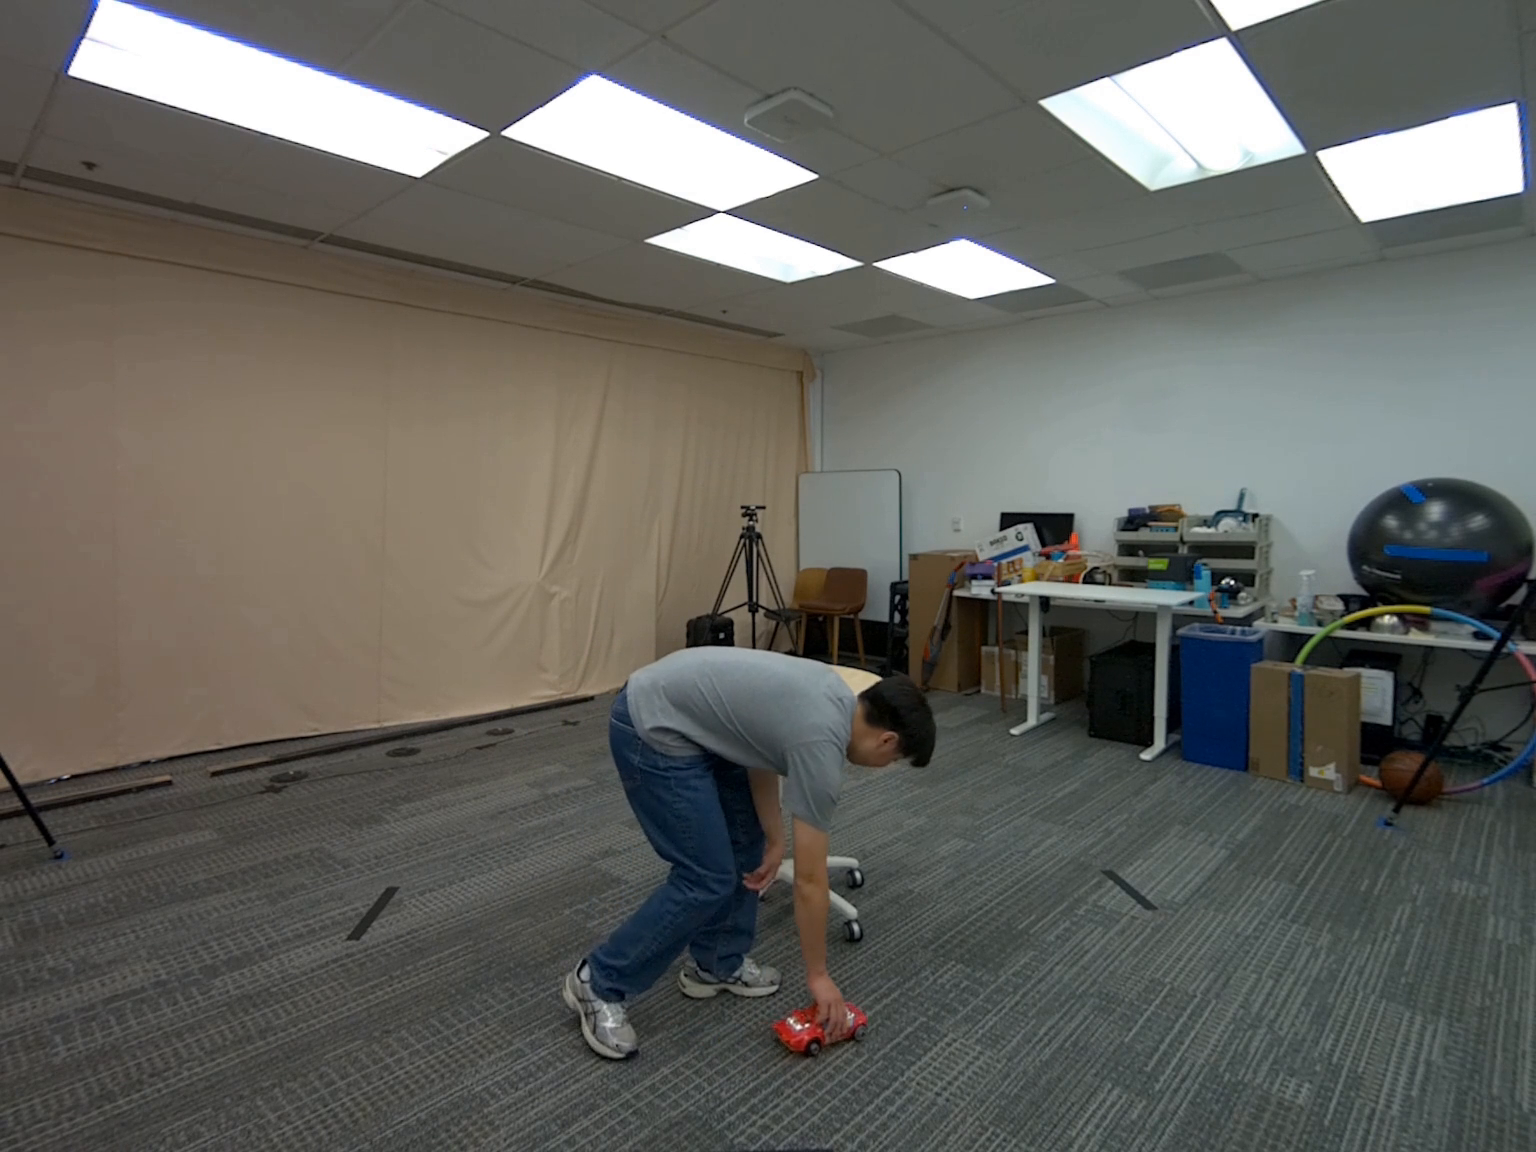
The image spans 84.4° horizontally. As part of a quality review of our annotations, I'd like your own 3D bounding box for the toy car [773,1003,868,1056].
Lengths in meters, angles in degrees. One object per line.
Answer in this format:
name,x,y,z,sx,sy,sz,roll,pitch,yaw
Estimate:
toy car,0.135,1.184,2.184,0.247,0.083,0.134,10,0,-28
